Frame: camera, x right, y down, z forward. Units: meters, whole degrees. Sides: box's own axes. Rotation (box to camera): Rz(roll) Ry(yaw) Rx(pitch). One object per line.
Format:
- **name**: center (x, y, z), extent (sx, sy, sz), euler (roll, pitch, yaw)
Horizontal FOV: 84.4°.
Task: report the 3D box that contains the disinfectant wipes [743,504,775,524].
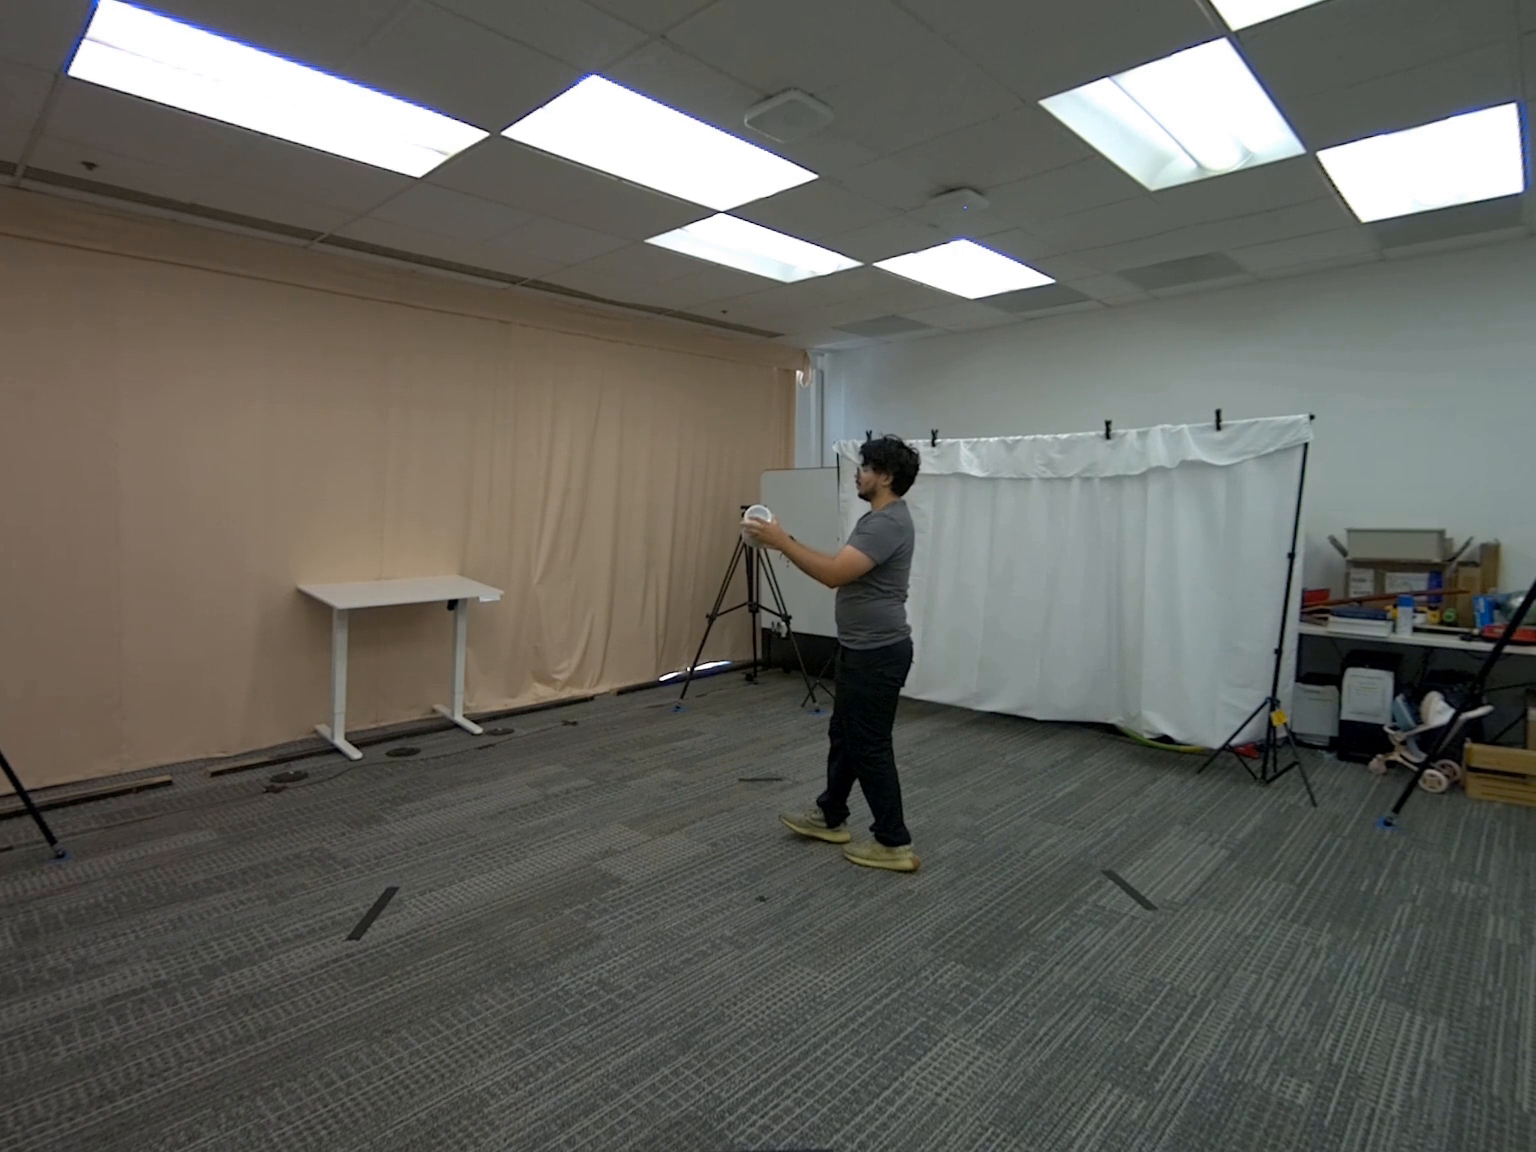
- **disinfectant wipes**: center (-0.039, -0.203, 3.312), extent (0.118, 0.118, 0.216), euler (0, -9, -1)
